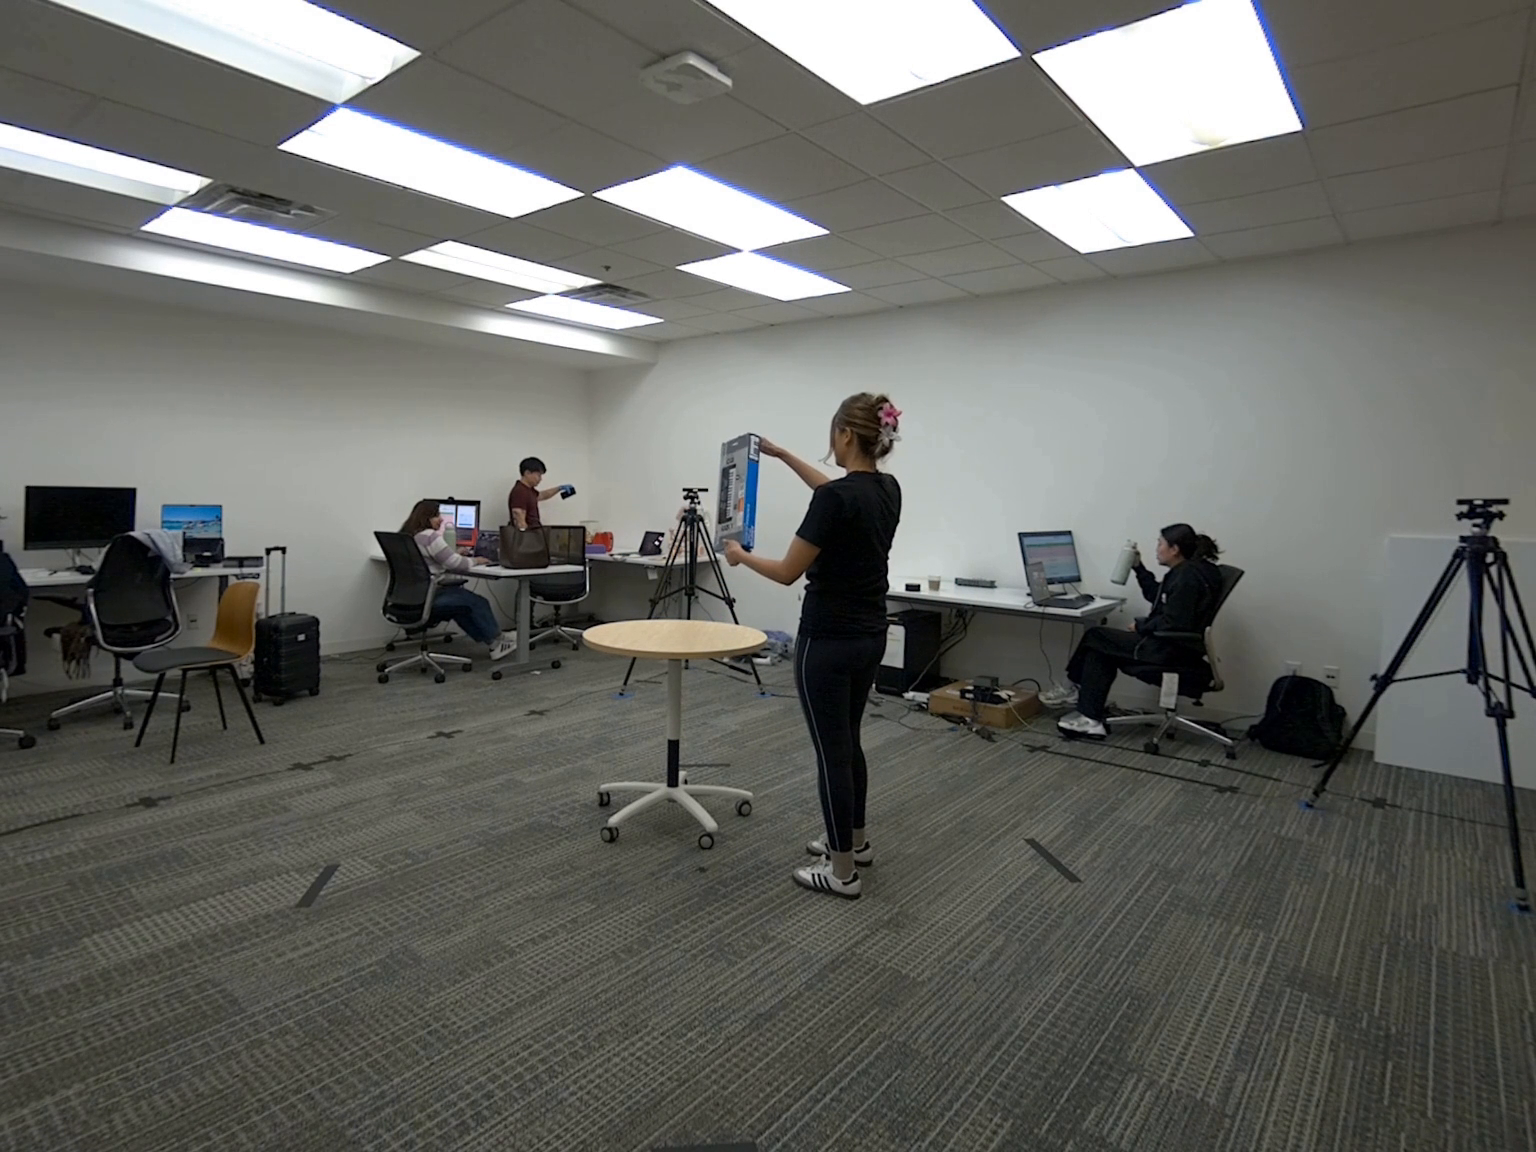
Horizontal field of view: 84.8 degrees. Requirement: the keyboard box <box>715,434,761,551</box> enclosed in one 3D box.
[{"bbox_3d":[-0.125,-0.309,3.186,0.057,0.443,0.180,15,-18,-36],"label":"keyboard box"}]
